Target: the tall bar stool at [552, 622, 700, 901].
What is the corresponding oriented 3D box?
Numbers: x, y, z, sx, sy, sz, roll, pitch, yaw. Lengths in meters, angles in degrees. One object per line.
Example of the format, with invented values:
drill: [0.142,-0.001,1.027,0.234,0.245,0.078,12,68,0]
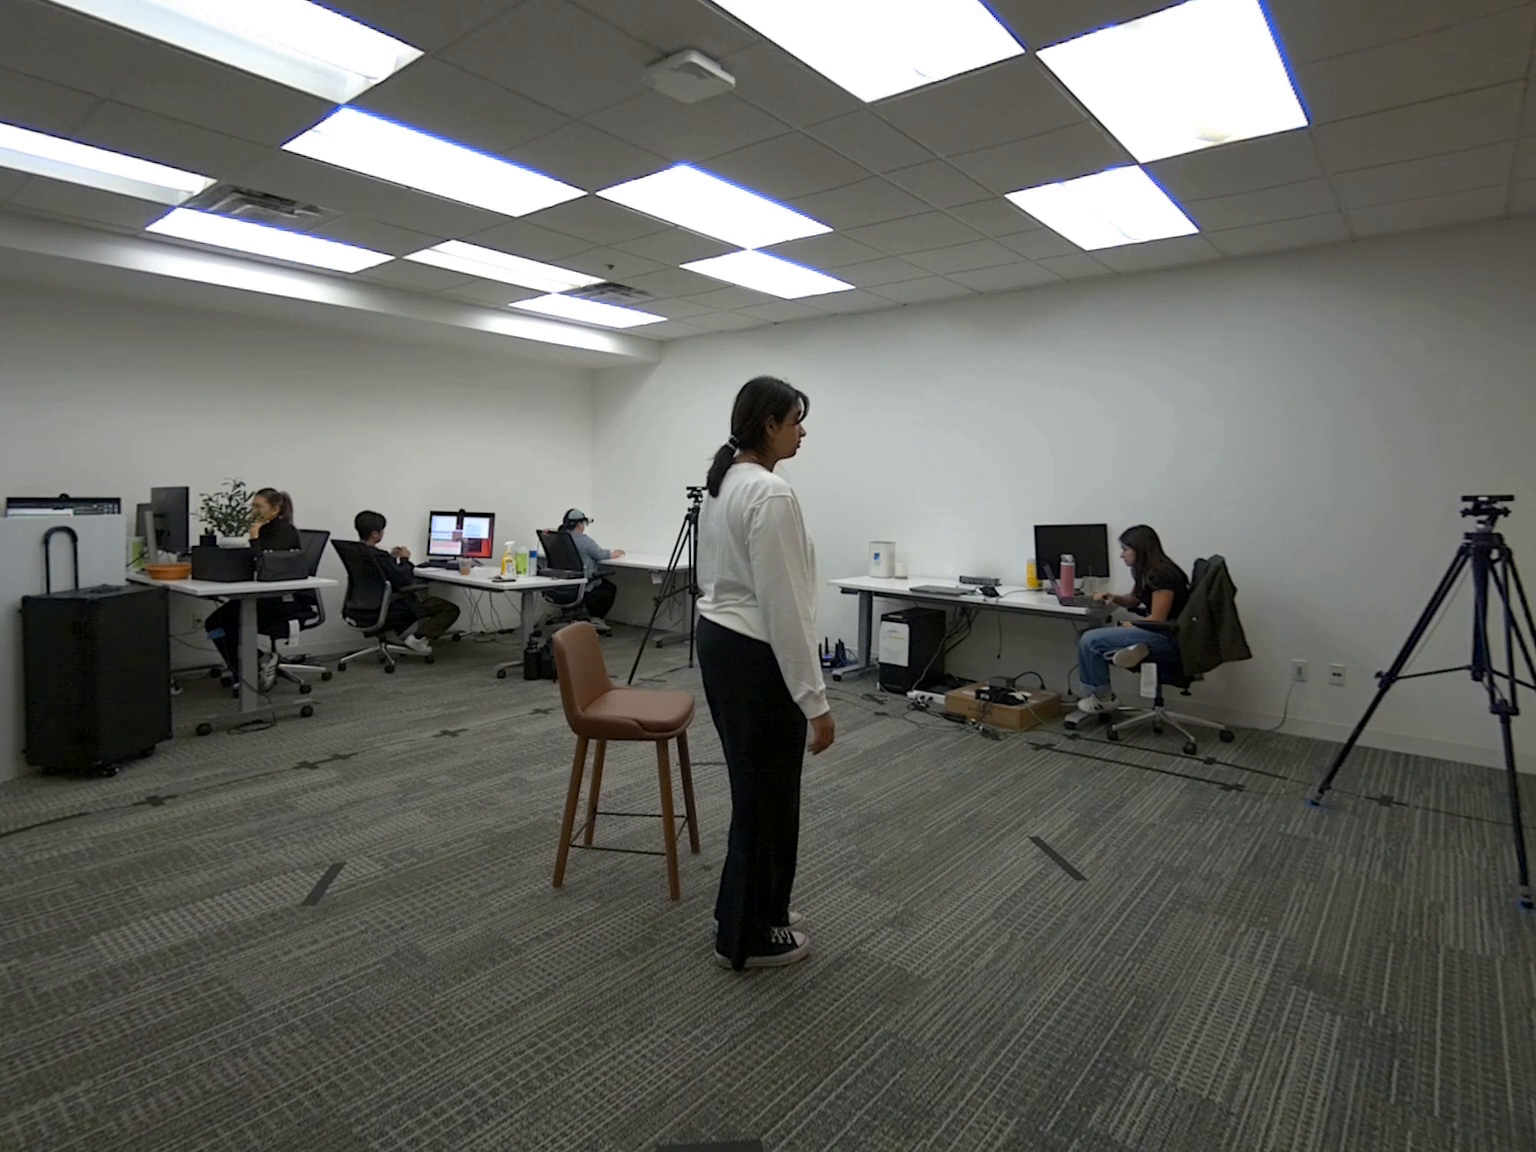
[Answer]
tall bar stool: [-0.508,0.632,3.067,0.473,0.888,0.453,0,3,9]
